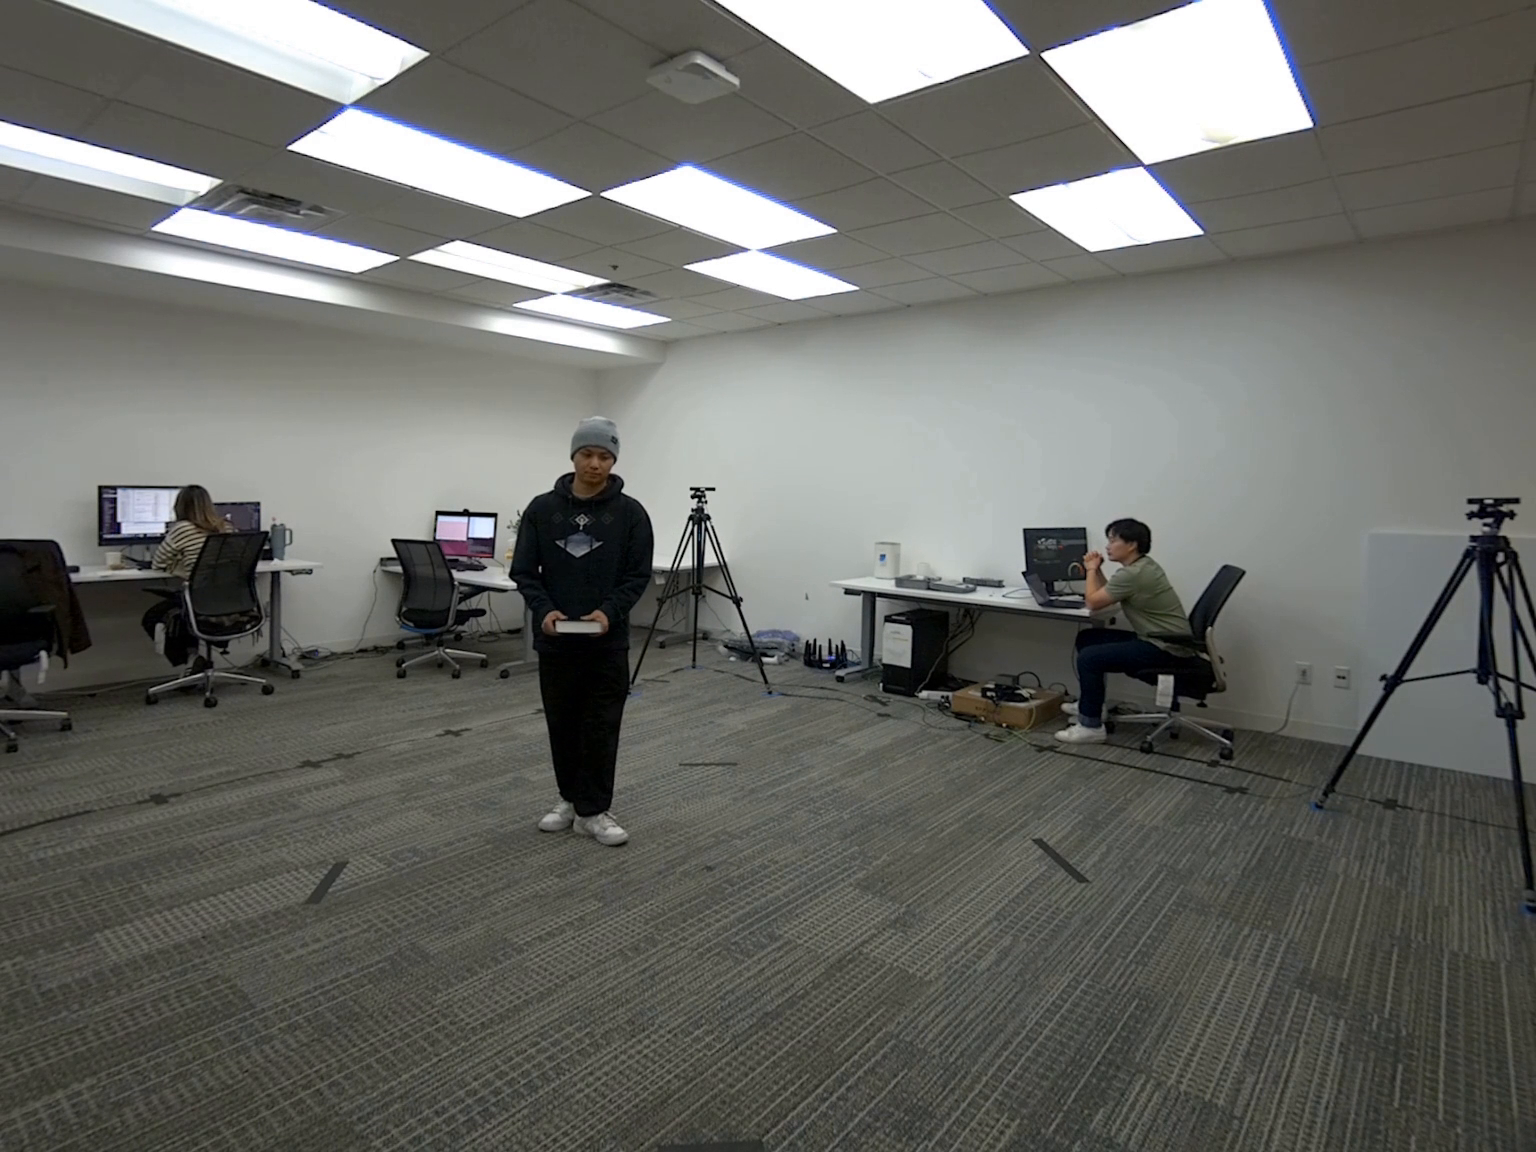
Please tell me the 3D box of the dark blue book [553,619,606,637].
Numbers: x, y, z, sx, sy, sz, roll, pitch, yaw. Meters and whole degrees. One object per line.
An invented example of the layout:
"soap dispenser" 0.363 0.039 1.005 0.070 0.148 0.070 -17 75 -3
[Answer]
"dark blue book" -0.721 0.178 3.140 0.162 0.045 0.246 0 -1 -8
